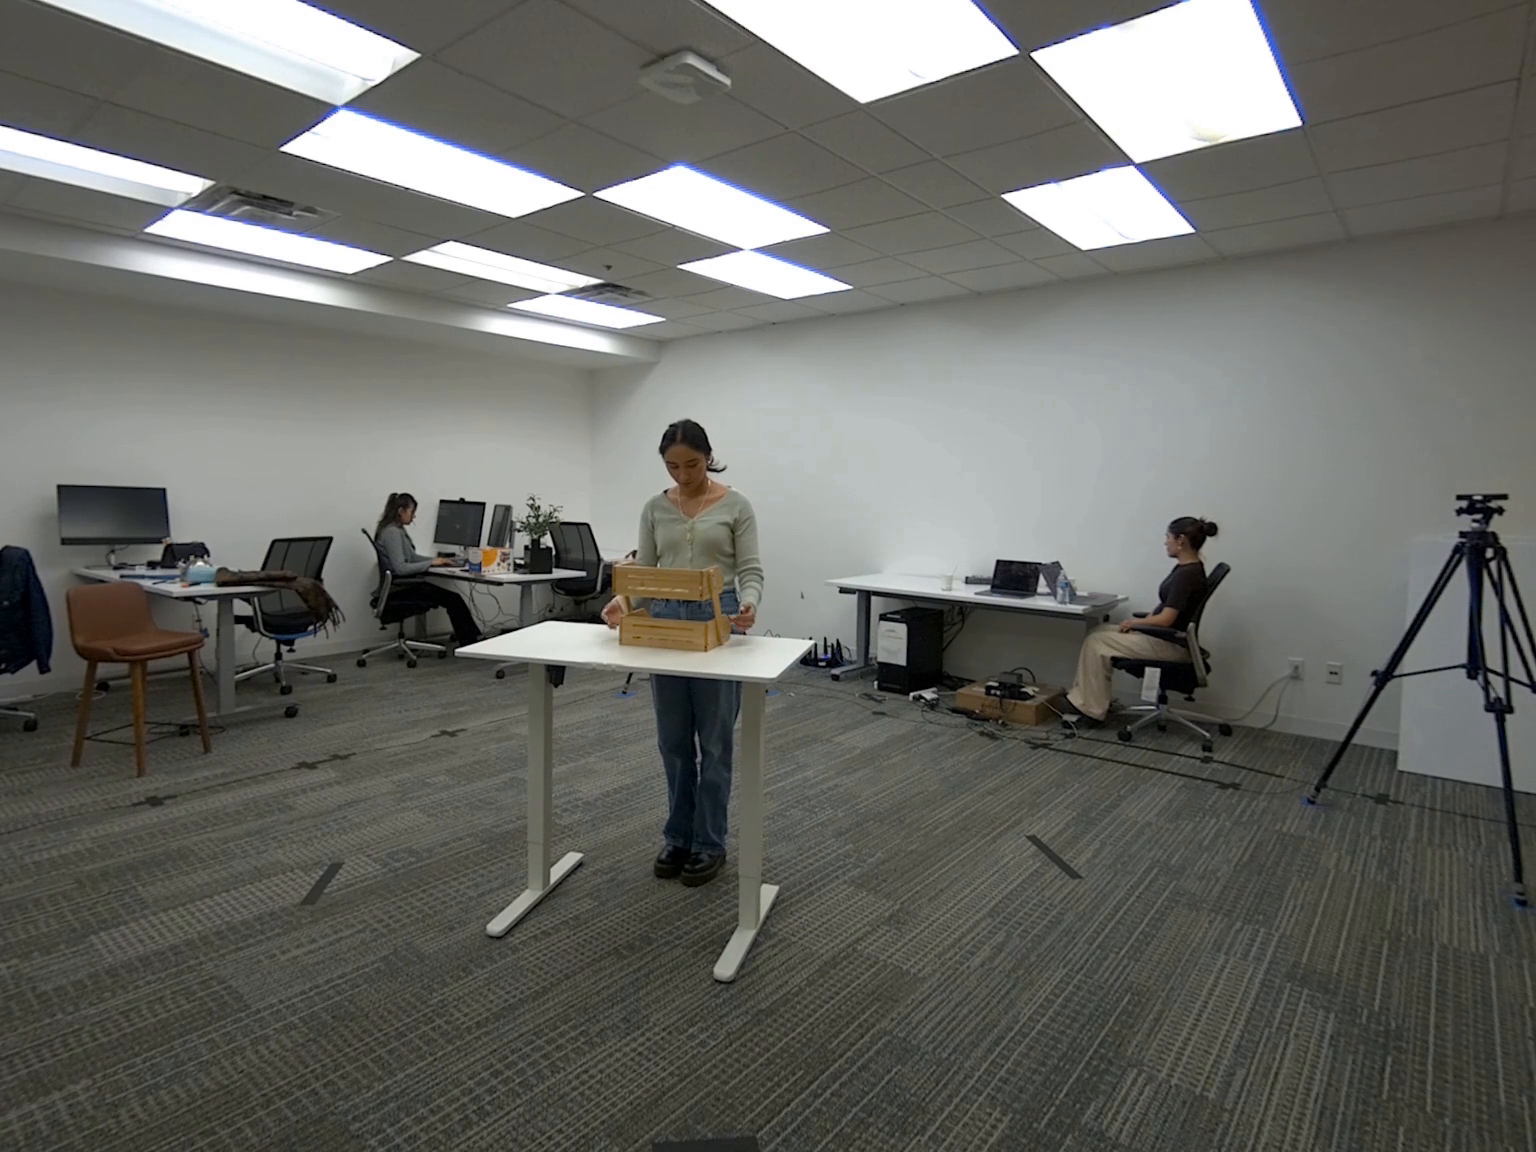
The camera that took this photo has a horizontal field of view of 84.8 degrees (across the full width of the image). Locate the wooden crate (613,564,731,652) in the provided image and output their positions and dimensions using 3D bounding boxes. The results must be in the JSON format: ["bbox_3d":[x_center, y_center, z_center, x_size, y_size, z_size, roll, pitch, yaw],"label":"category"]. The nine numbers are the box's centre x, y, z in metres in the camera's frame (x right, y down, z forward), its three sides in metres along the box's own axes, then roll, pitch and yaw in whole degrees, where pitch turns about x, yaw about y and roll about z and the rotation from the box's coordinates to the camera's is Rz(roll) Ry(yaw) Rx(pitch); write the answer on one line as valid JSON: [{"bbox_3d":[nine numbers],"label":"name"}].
[{"bbox_3d":[-0.322,0.083,2.765,0.330,0.272,0.298,2,6,17],"label":"wooden crate"}]
